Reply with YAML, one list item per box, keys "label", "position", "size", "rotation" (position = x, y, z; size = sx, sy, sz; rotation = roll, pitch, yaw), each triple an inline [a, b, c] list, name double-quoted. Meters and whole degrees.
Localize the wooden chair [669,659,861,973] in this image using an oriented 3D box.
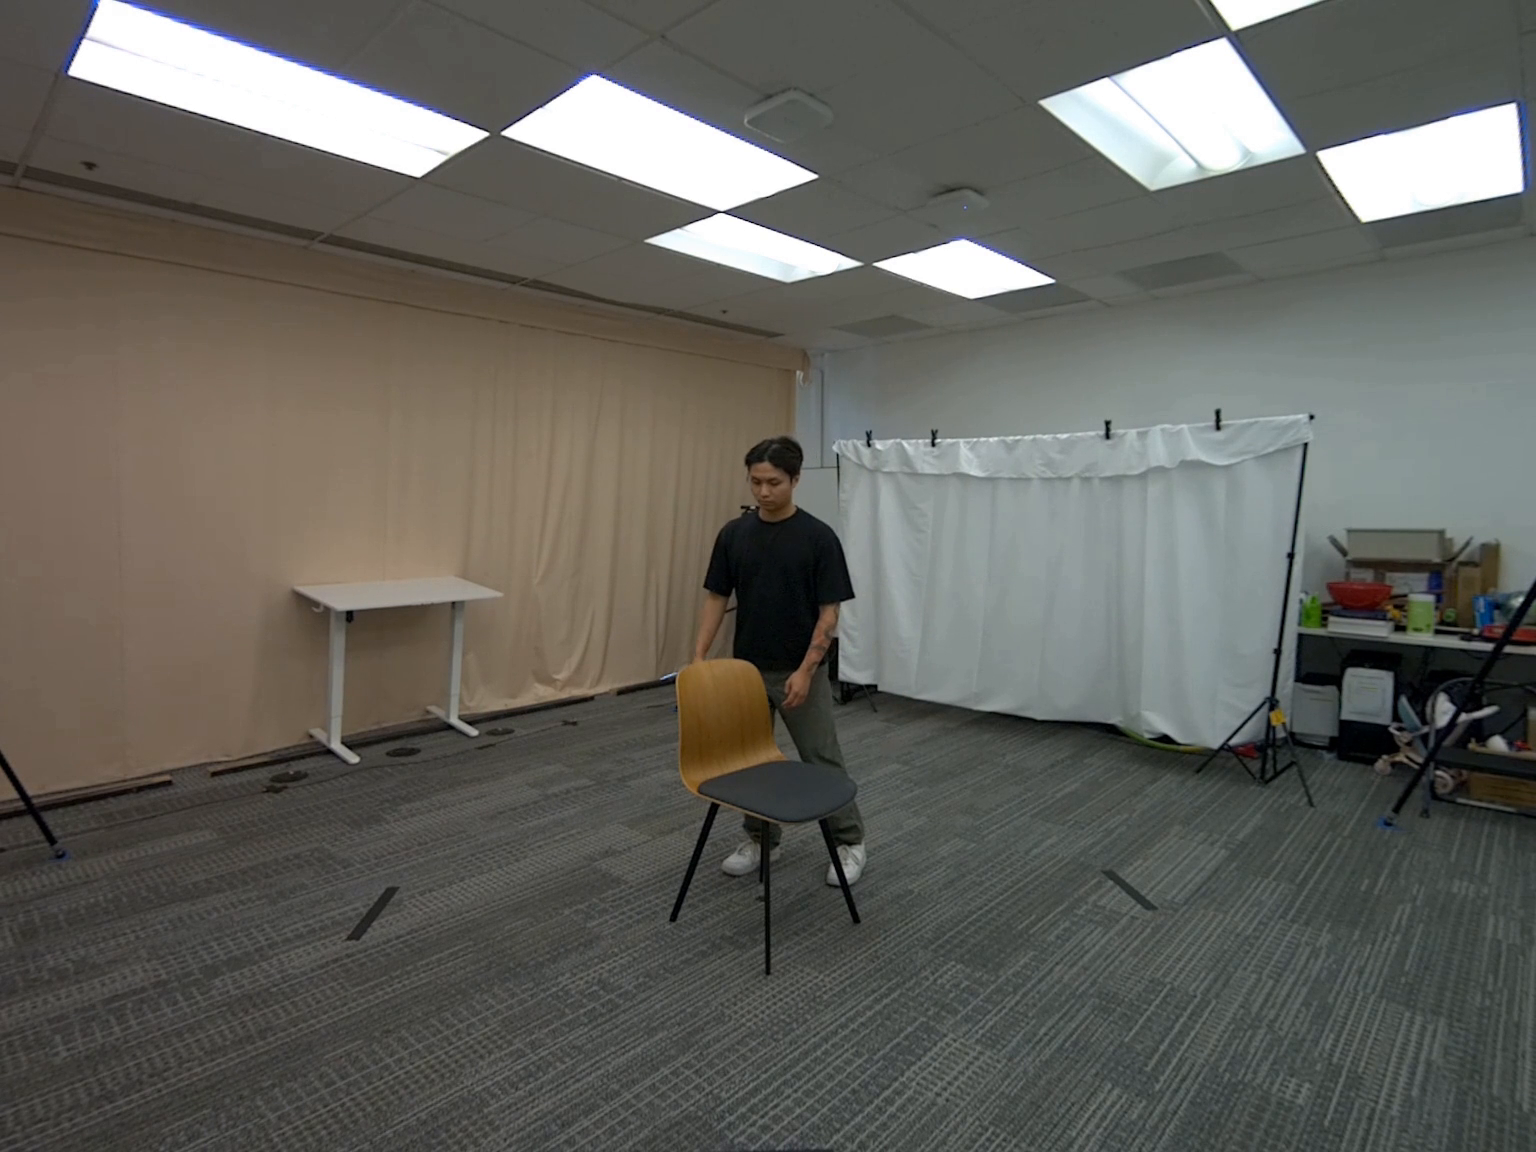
- label: "wooden chair"
  position: [-0.011, 0.734, 2.775]
  size: [0.539, 0.877, 0.463]
  rotation: [-3, 0, 44]
